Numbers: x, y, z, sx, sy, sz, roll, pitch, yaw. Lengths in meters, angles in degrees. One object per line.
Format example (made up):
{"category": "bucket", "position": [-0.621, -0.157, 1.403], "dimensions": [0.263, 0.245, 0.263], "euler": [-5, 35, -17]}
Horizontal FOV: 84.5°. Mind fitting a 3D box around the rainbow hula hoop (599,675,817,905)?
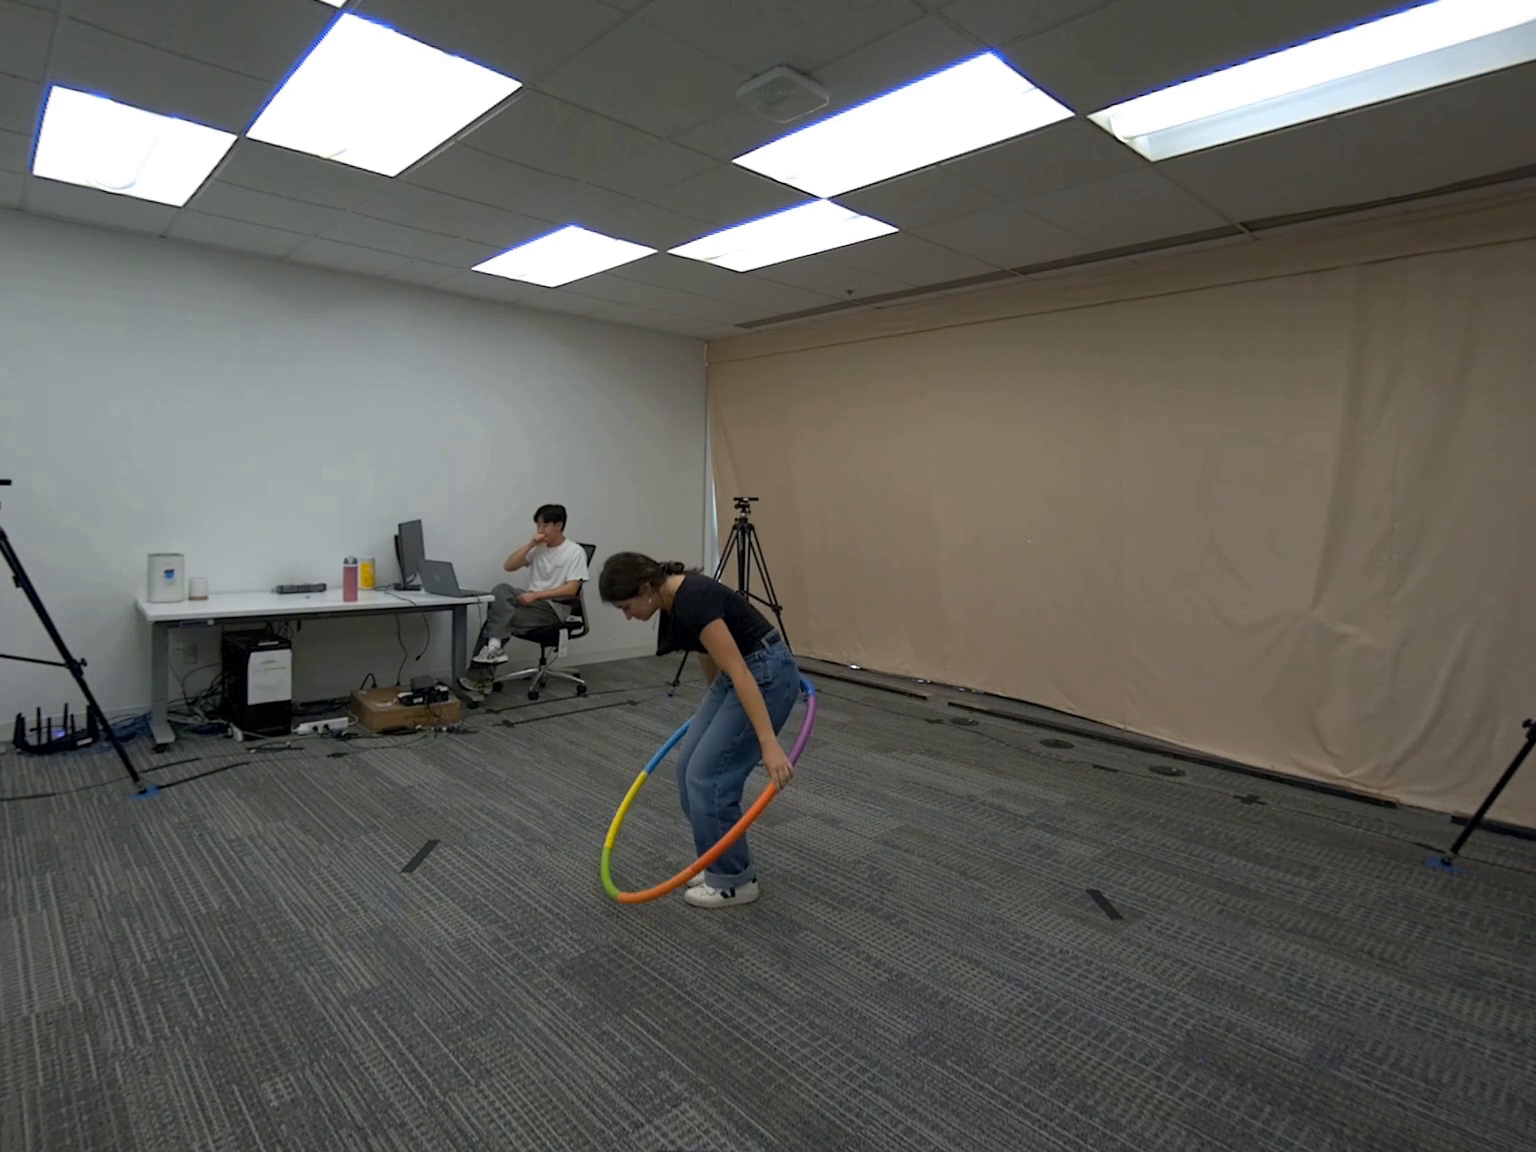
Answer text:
{"category": "rainbow hula hoop", "position": [-0.230, 0.703, 2.931], "dimensions": [0.980, 0.035, 0.993], "euler": [-38, 18, 12]}
